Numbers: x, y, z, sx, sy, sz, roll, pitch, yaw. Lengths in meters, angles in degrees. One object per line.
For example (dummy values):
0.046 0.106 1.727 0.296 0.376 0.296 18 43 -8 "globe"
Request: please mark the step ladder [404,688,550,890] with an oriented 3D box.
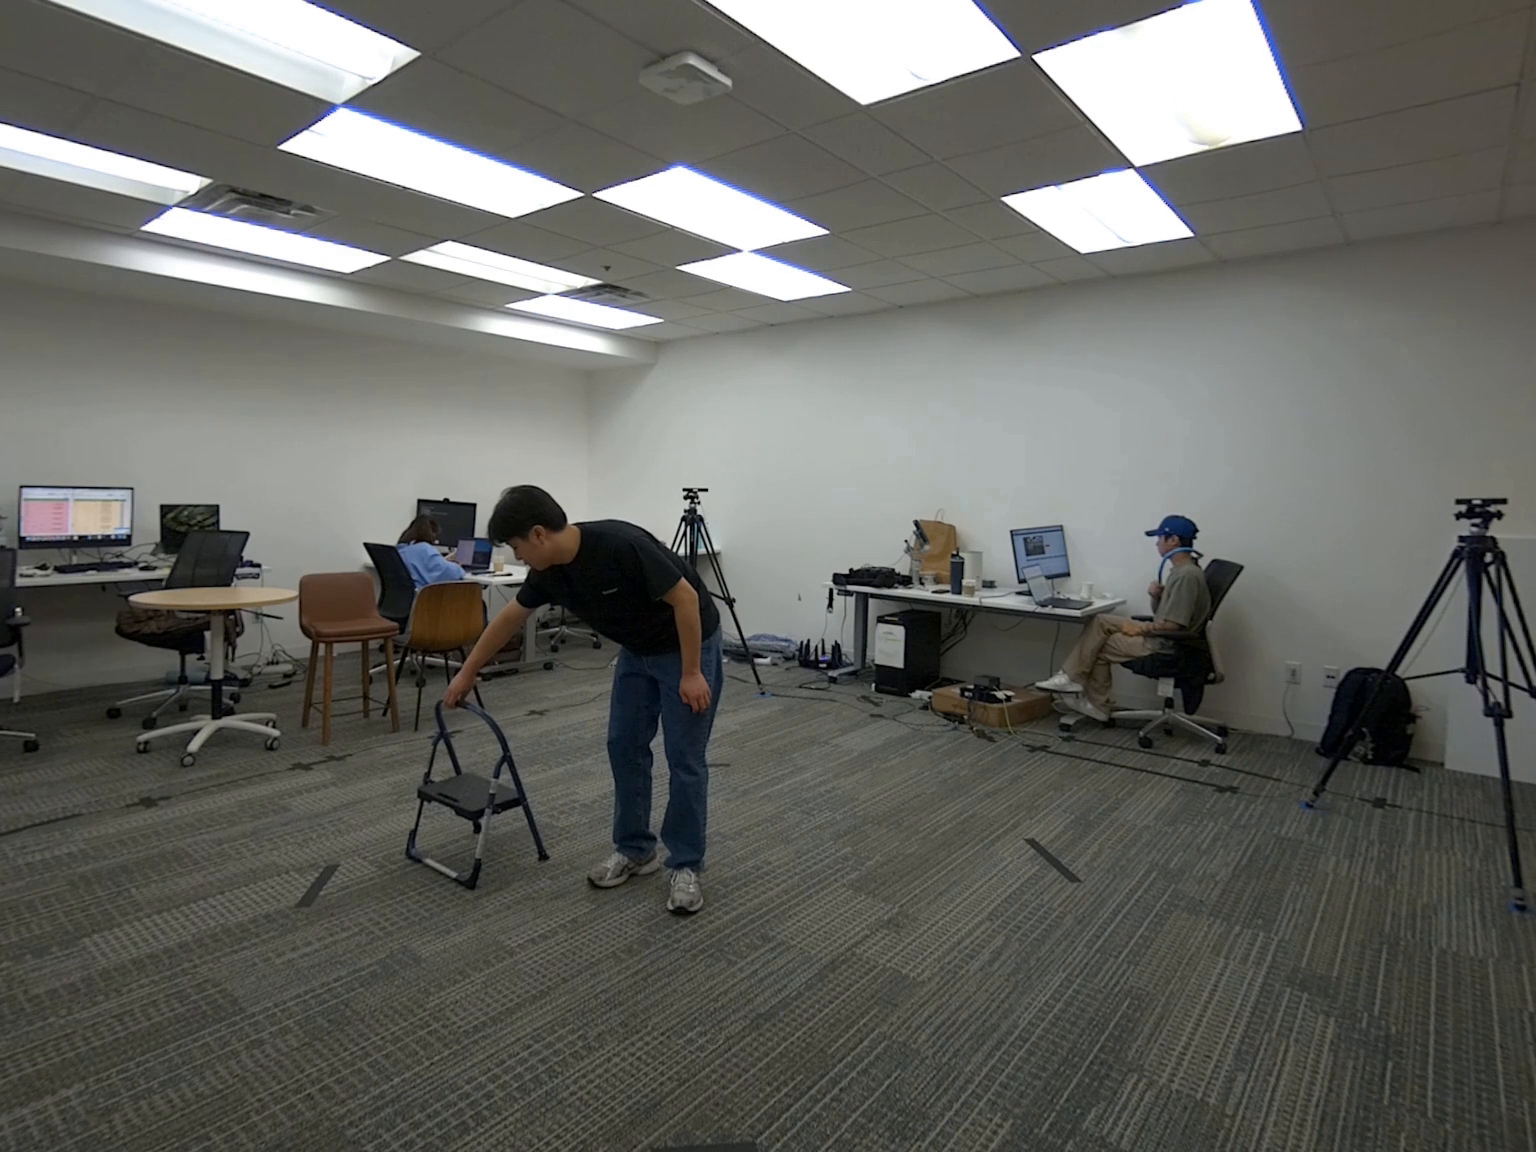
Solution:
-1.091 0.746 3.156 0.445 0.604 0.339 4 4 36 "step ladder"
